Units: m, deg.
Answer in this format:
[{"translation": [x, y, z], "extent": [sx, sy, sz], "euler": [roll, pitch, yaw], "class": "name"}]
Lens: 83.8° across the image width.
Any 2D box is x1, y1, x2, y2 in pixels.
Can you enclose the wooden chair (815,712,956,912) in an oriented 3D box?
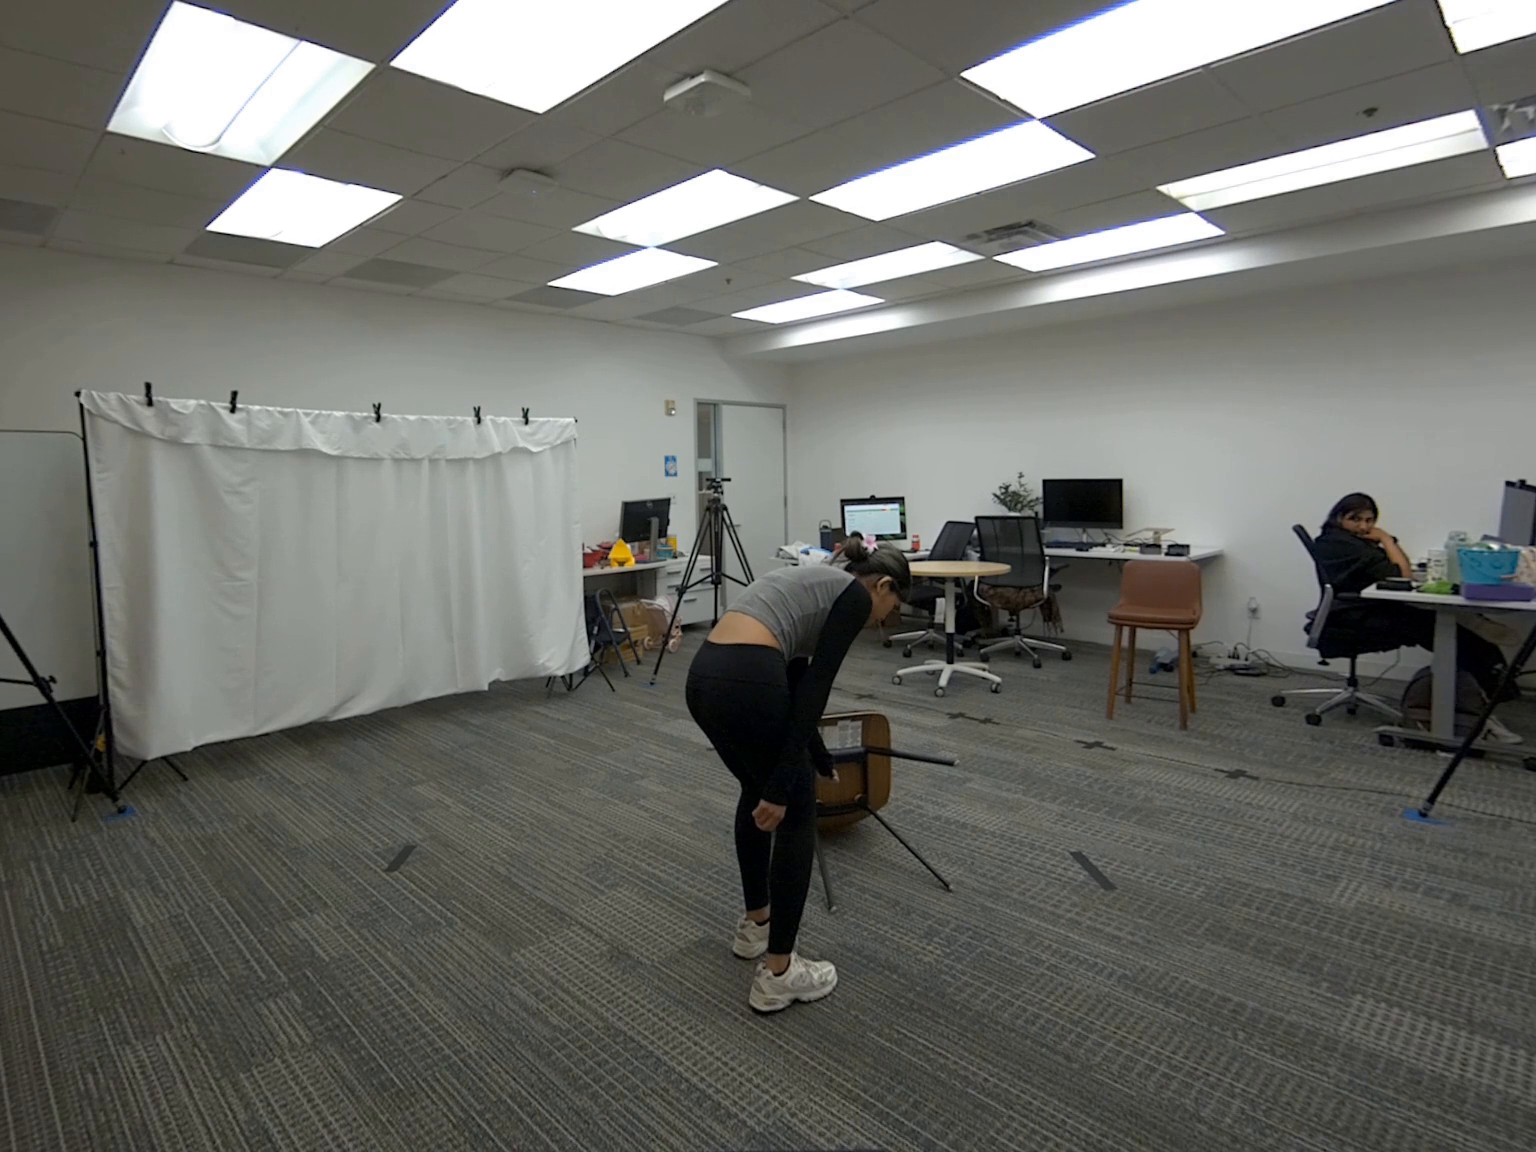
[{"translation": [0.272, 0.767, 3.180], "extent": [0.470, 0.521, 0.895], "euler": [-3, 5, -19], "class": "wooden chair"}]
